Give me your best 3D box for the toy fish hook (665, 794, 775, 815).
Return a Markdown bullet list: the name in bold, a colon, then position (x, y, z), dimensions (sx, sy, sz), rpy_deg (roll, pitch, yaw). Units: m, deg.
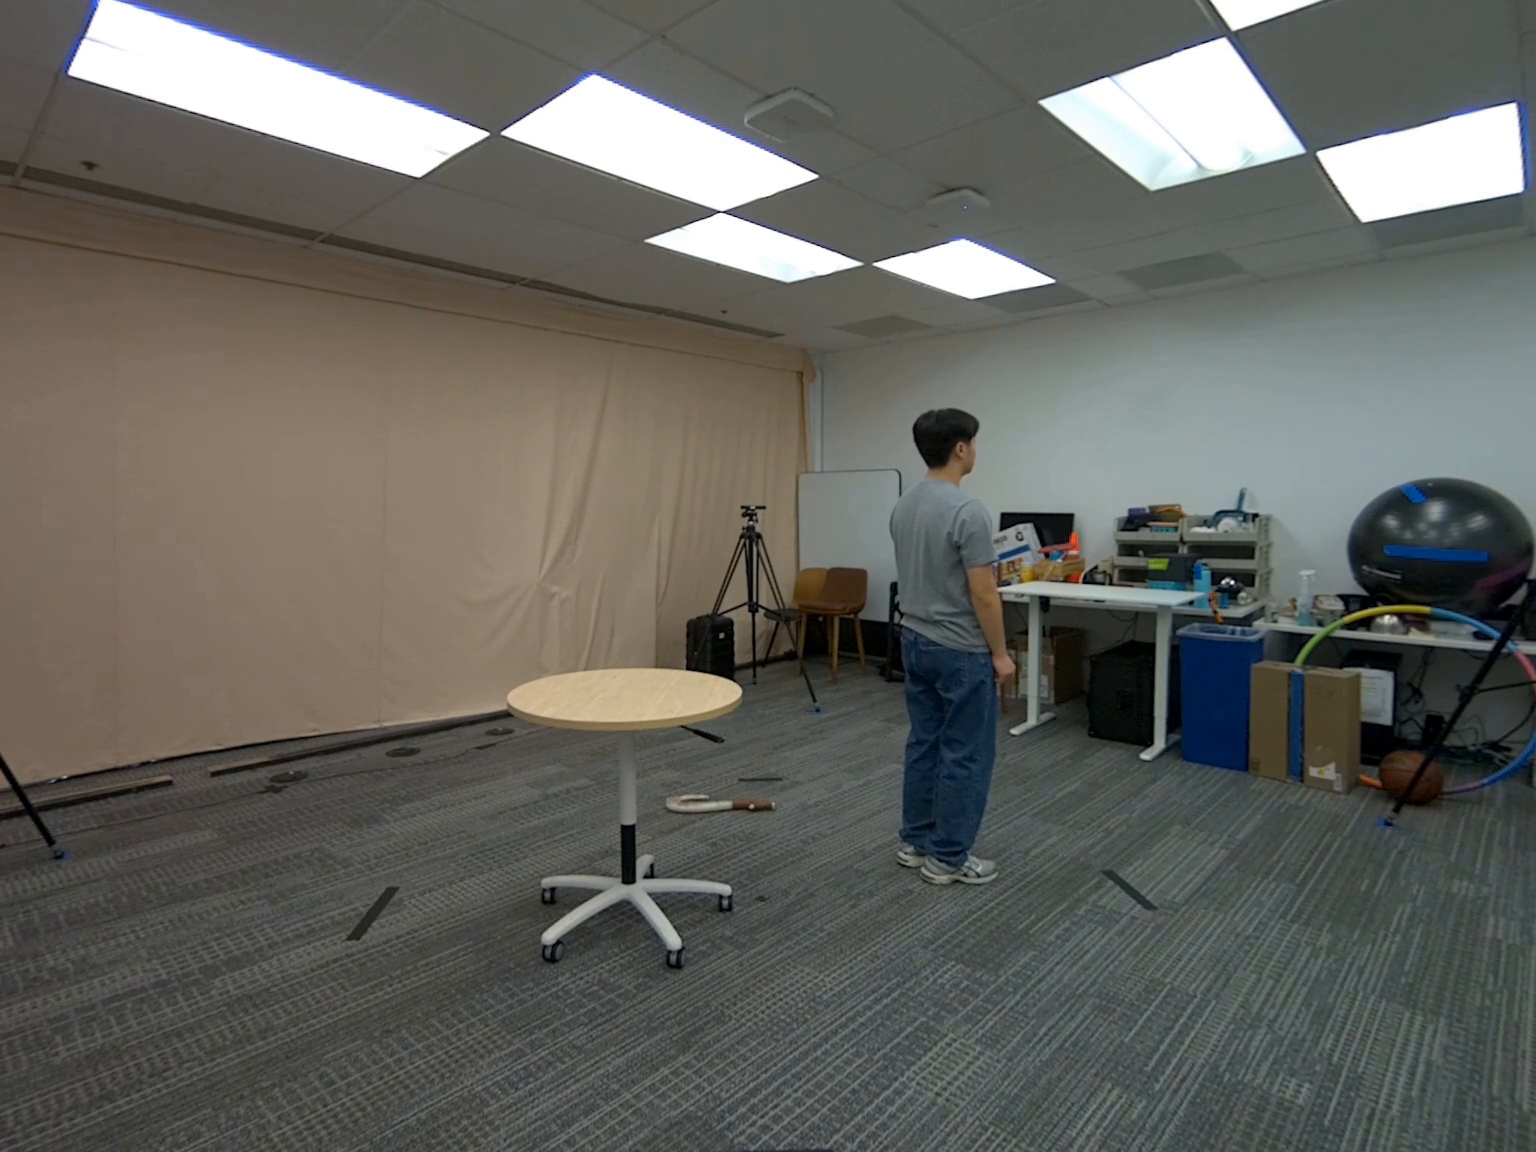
- **toy fish hook**: position (-0.219, 1.046, 3.909), dimensions (0.507, 0.048, 0.225), rpy_deg (0, 5, 0)
